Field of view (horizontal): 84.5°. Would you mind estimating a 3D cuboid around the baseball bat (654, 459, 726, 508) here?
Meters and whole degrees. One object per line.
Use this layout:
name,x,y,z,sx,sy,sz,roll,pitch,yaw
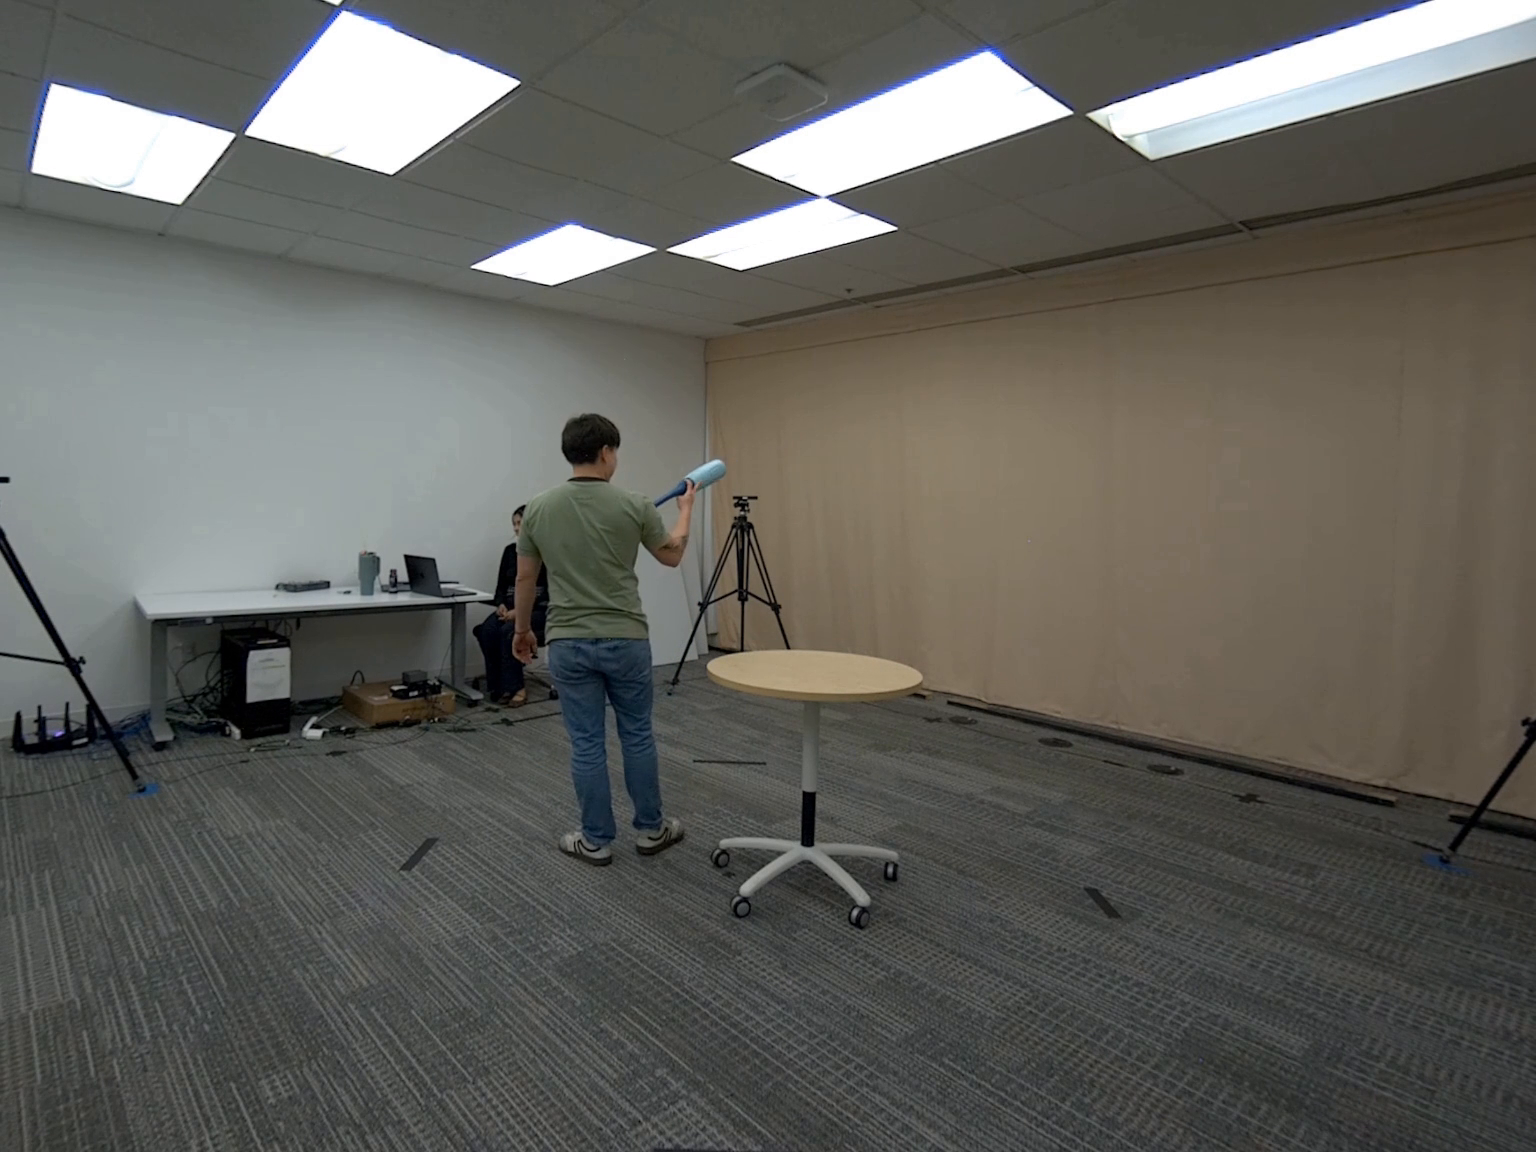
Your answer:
baseball bat,-0.351,-0.364,3.501,0.091,0.087,0.540,3,25,29
